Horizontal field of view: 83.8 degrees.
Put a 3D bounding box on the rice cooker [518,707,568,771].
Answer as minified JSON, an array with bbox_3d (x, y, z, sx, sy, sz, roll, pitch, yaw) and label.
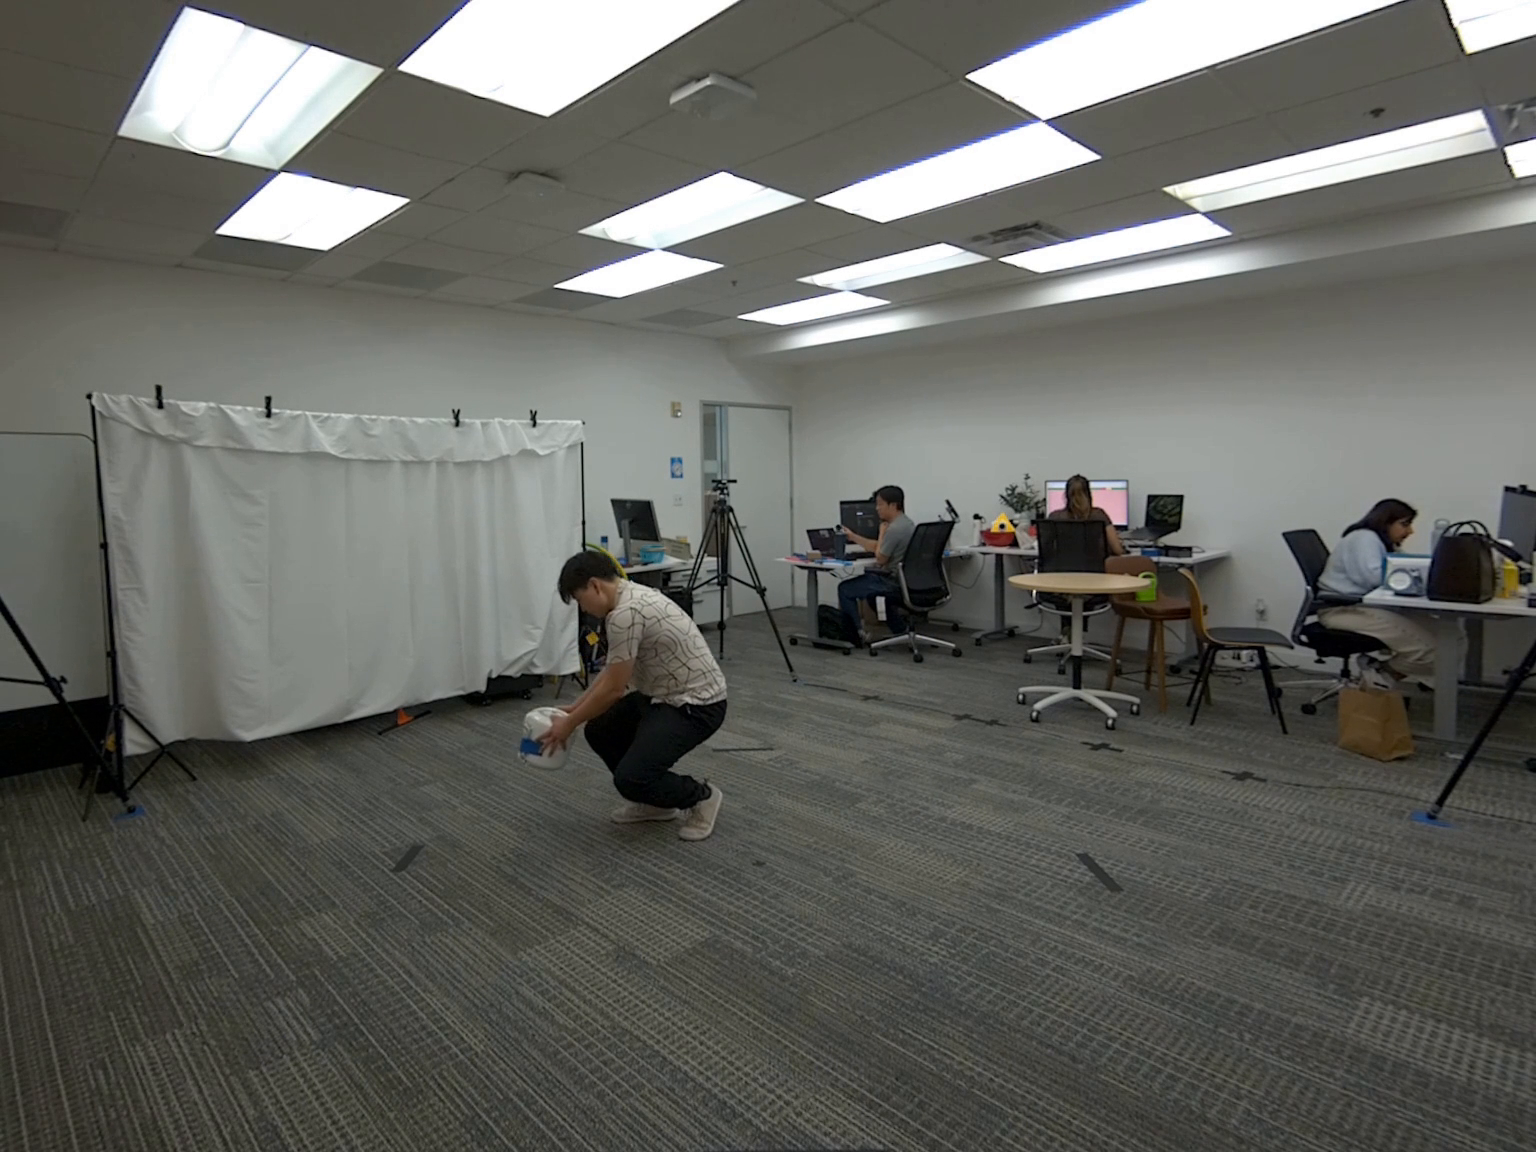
[{"bbox_3d":[-0.889,0.650,3.480,0.219,0.232,0.219,15,2,-7],"label":"rice cooker"}]
